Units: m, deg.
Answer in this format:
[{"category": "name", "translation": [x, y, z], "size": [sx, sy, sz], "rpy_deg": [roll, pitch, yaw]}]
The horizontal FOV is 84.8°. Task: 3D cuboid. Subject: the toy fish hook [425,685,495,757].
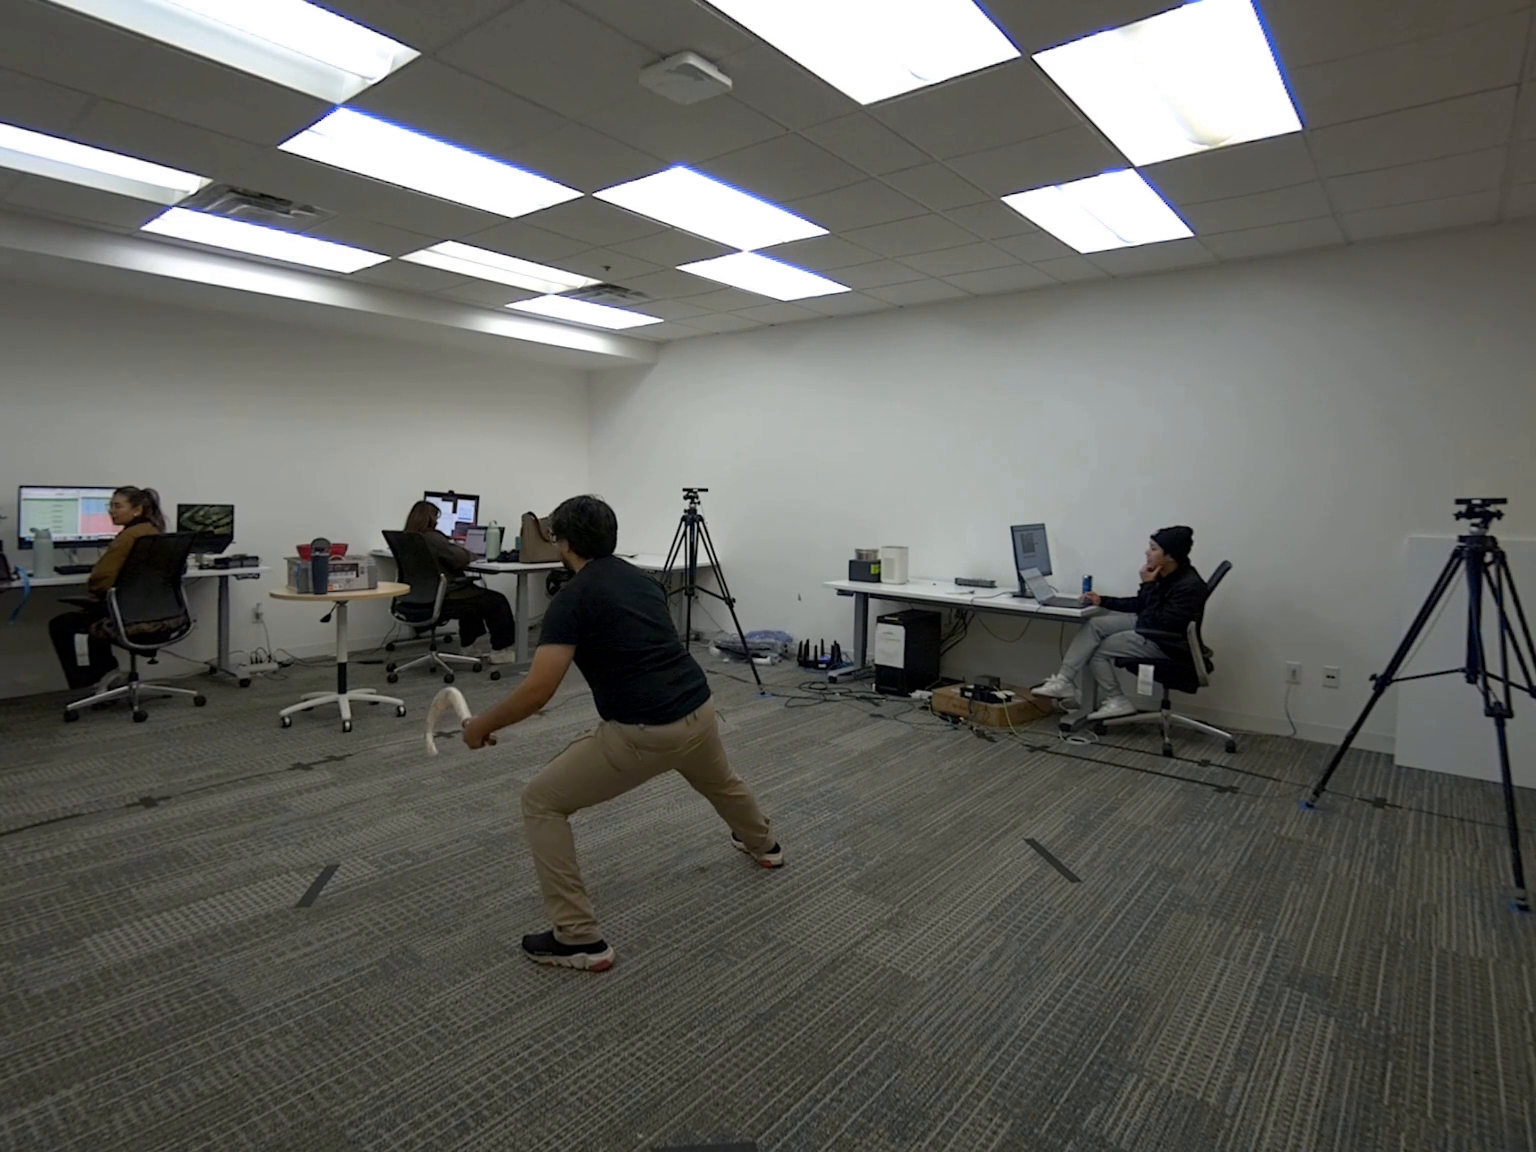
[{"category": "toy fish hook", "translation": [-1.020, 0.517, 2.772], "size": [0.046, 0.225, 0.525], "rpy_deg": [21, -4, -39]}]
